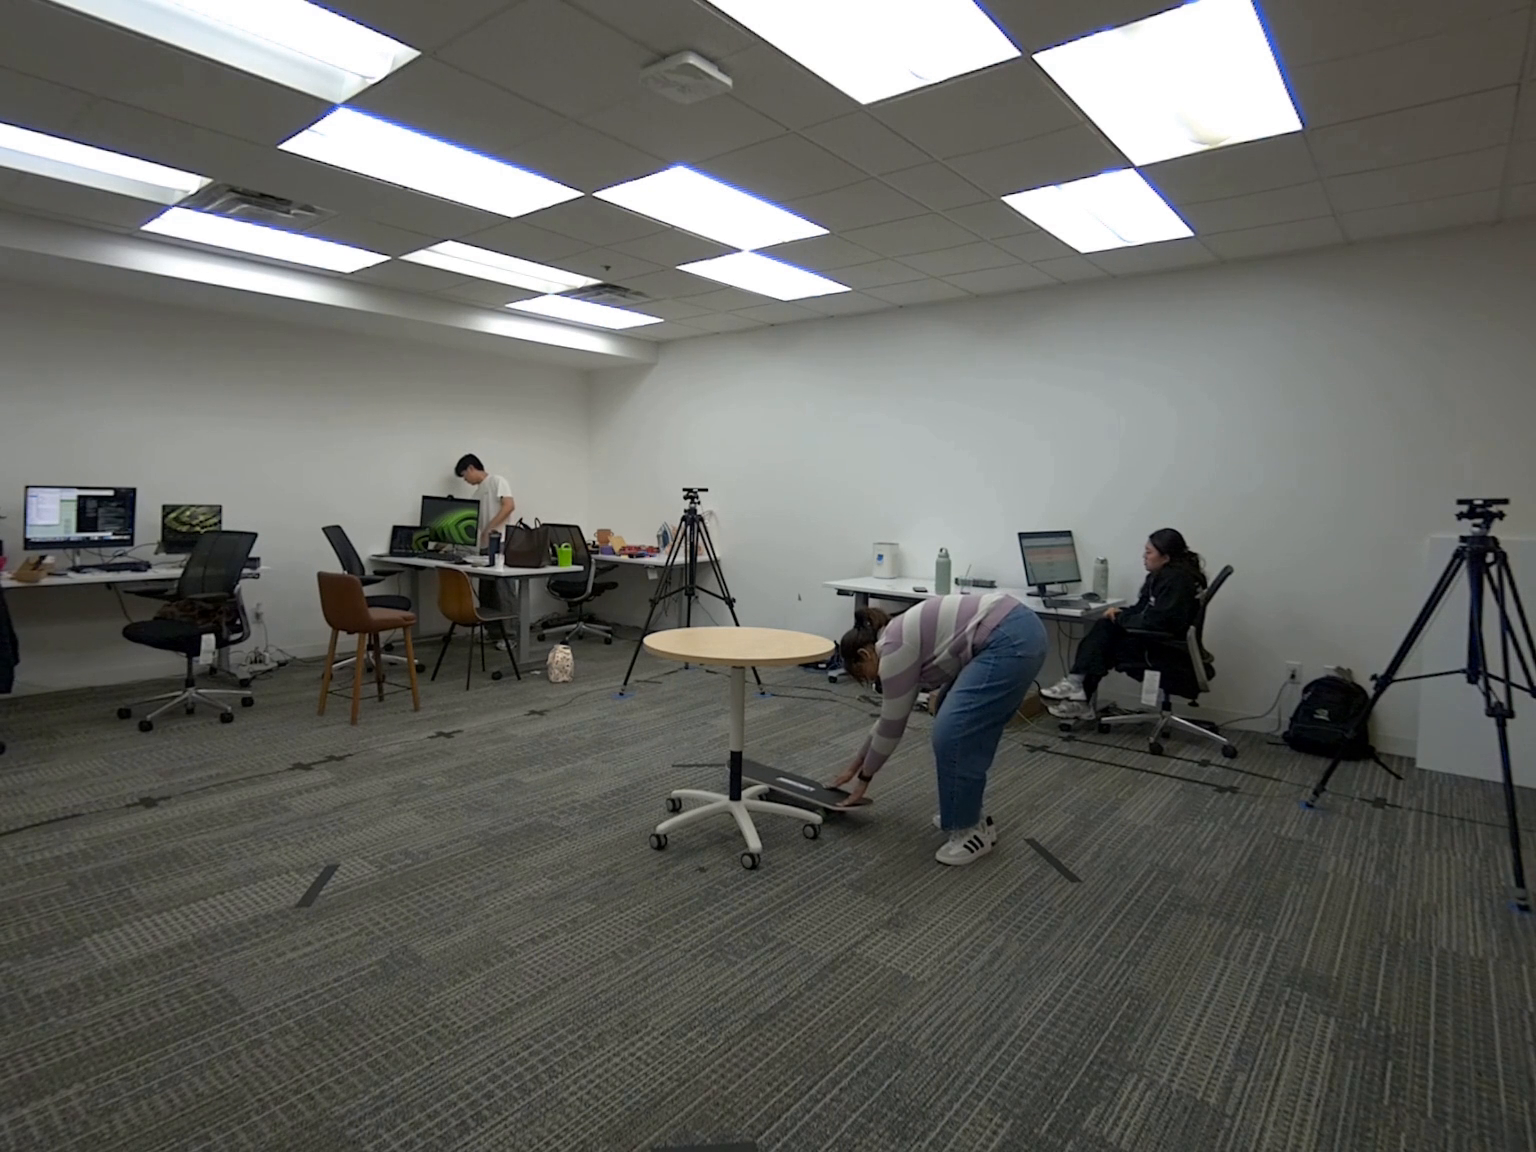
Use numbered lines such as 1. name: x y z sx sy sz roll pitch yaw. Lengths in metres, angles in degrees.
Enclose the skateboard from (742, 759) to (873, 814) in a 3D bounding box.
1. skateboard: 0.110 0.950 3.779 0.813 0.110 0.187 7 6 42
